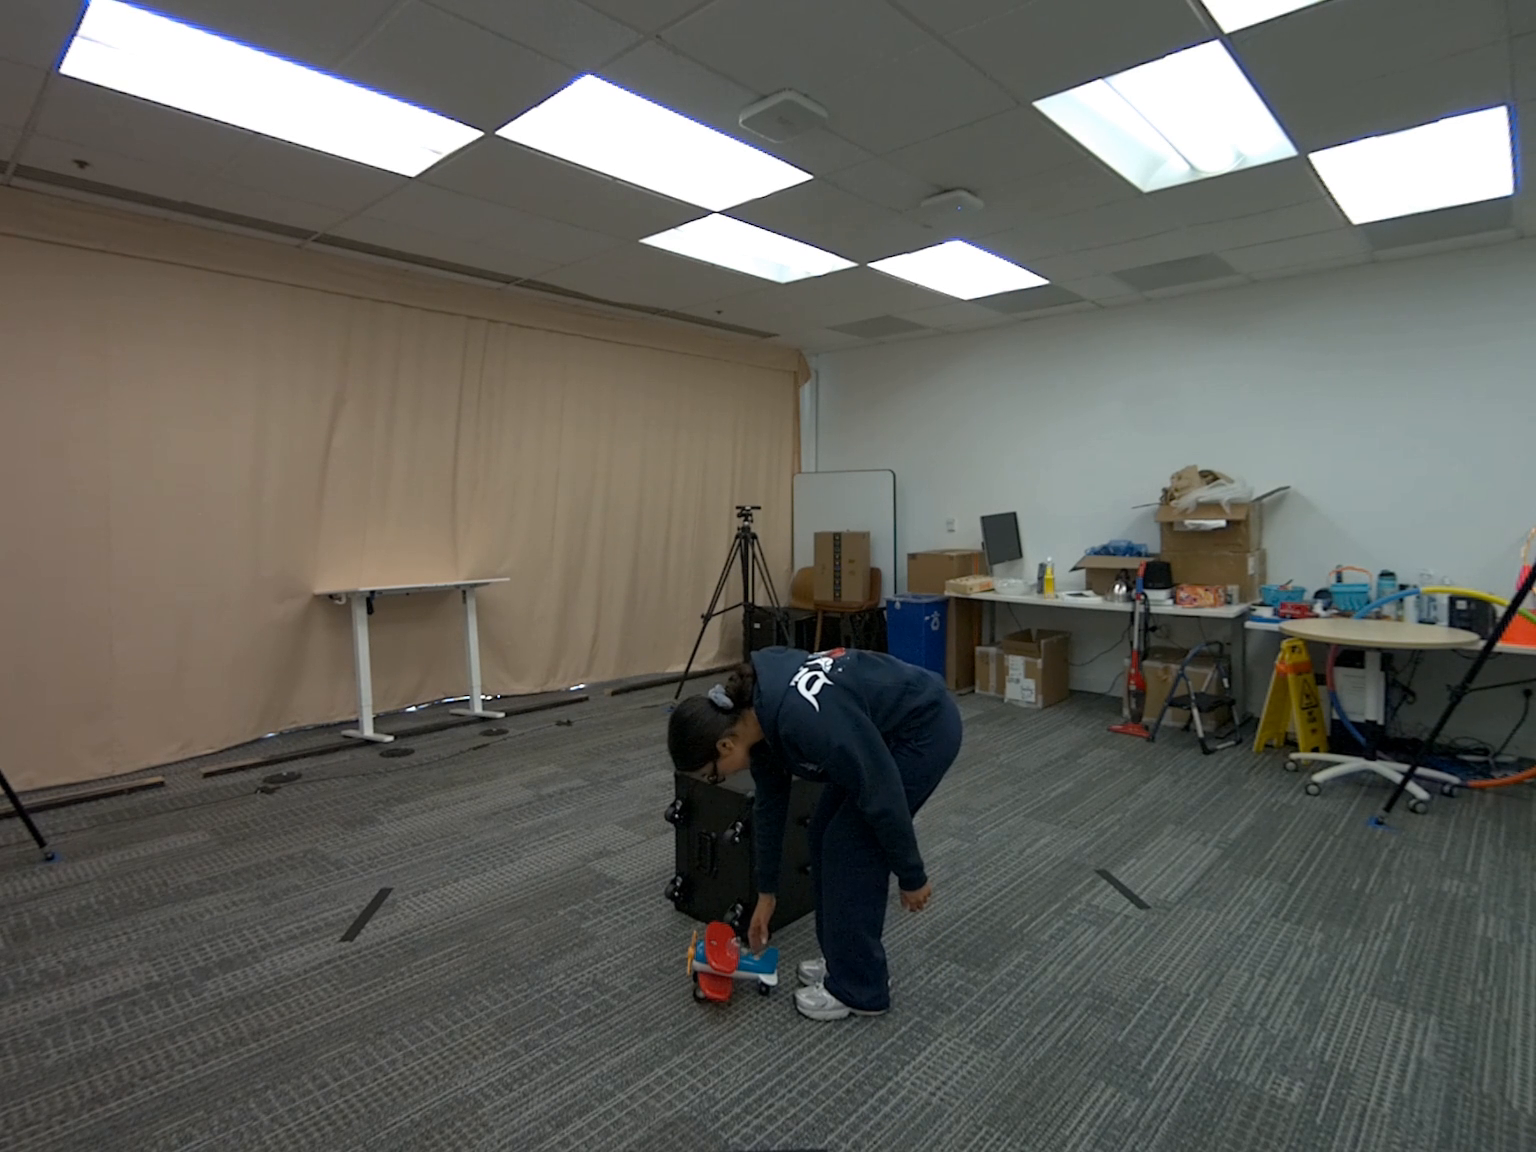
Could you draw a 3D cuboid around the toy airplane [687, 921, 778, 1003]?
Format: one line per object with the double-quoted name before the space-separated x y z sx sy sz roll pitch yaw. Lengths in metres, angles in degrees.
"toy airplane" -0.092 1.119 2.427 0.253 0.156 0.257 0 2 -25
